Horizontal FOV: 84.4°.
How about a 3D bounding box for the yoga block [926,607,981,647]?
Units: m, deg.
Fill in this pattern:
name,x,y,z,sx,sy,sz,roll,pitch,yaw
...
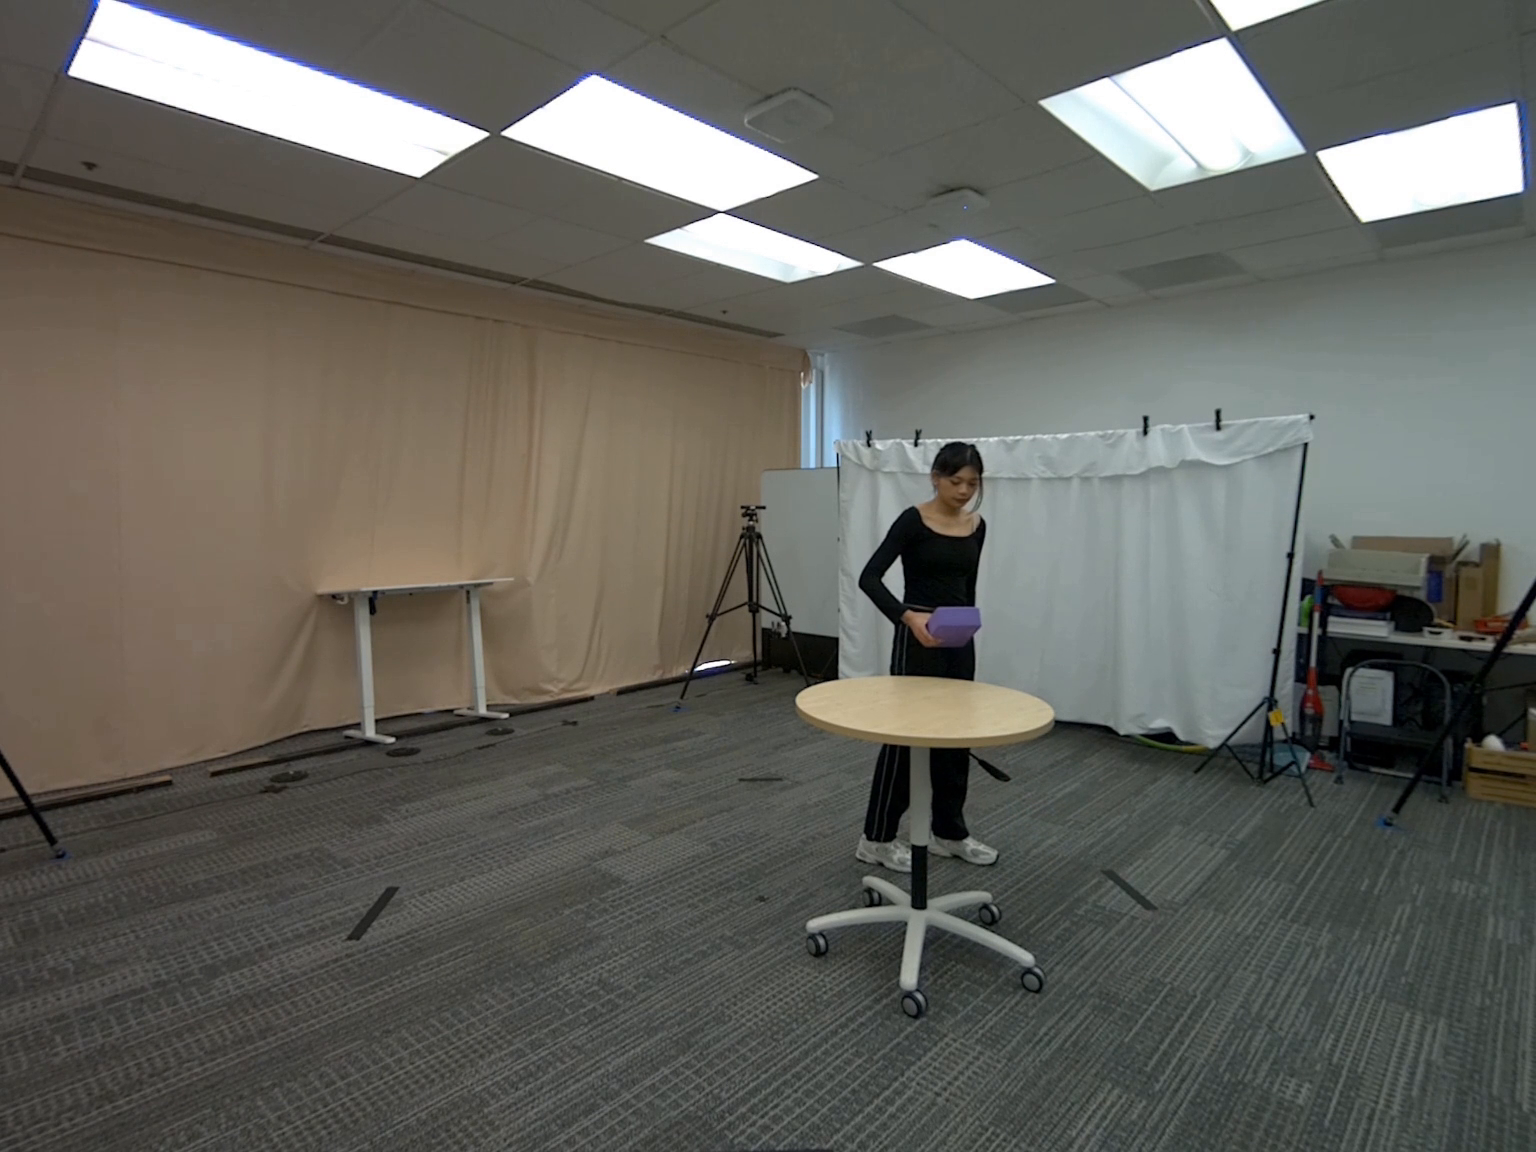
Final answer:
name,x,y,z,sx,sy,sz,roll,pitch,yaw
yoga block,0.637,0.176,2.928,0.149,0.077,0.226,-1,-20,-1
